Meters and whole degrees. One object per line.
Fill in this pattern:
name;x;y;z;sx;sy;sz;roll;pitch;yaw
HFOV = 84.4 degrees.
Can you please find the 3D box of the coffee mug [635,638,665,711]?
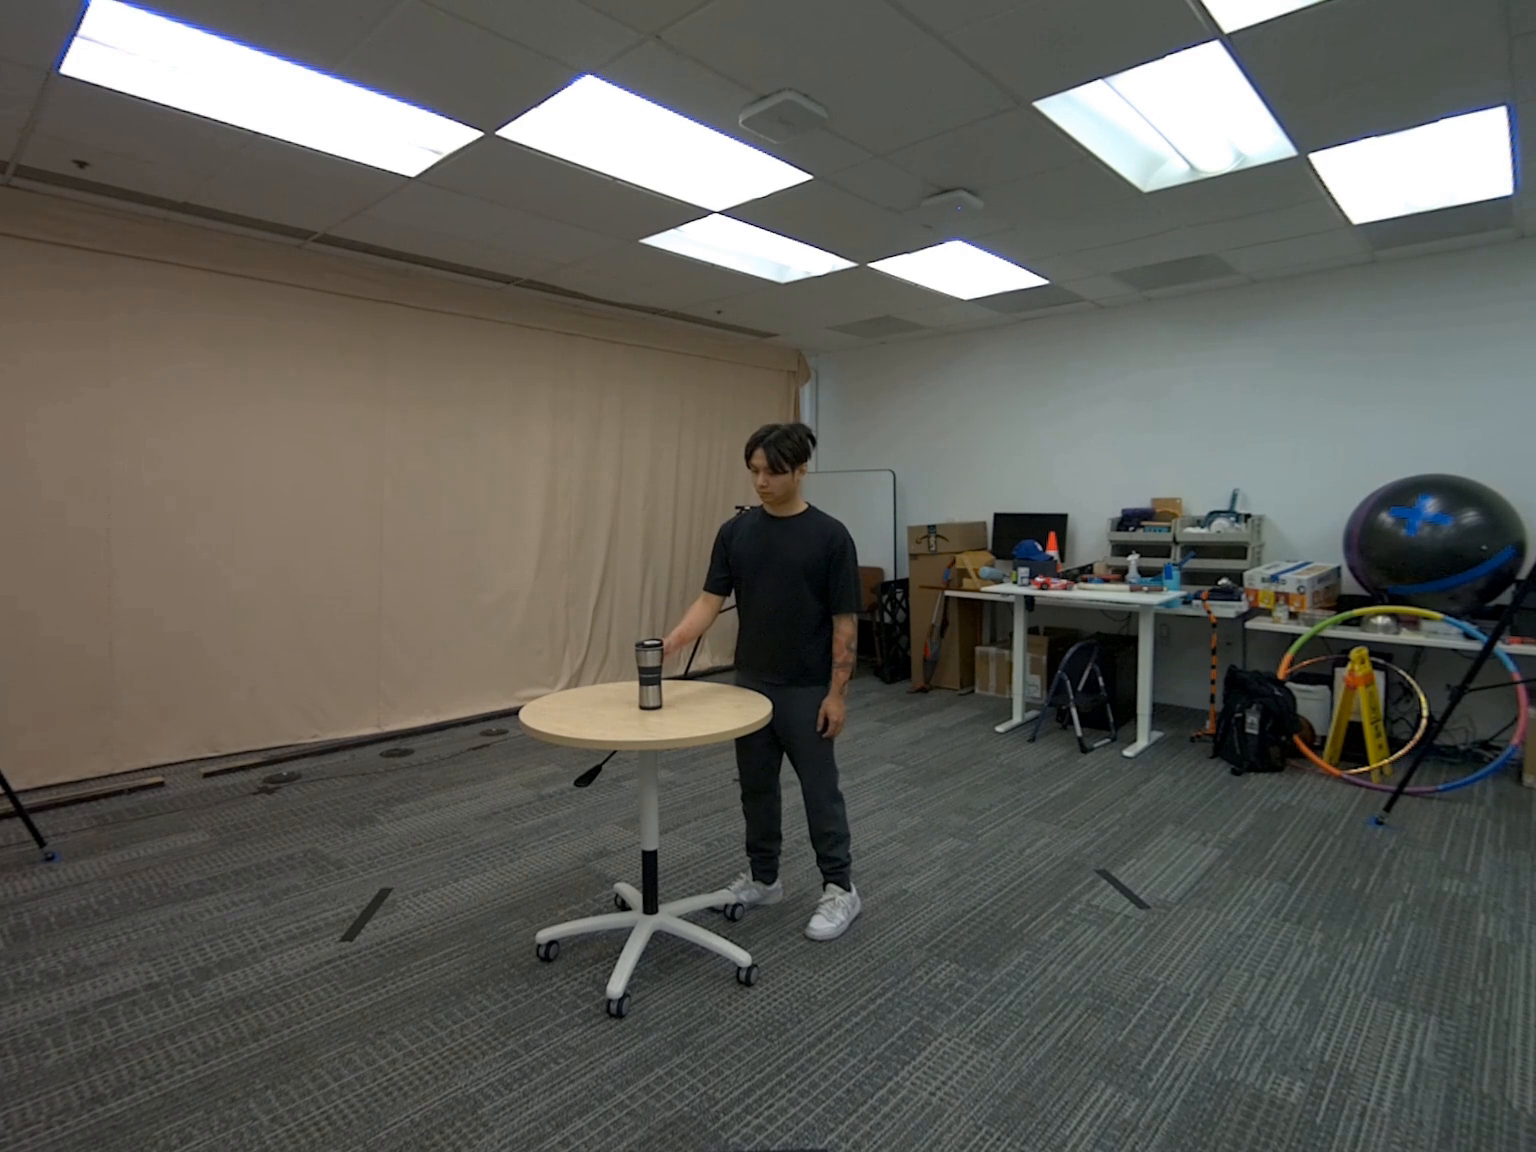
coffee mug;-0.343;0.300;2.552;0.119;0.202;0.090;-9;4;-36
